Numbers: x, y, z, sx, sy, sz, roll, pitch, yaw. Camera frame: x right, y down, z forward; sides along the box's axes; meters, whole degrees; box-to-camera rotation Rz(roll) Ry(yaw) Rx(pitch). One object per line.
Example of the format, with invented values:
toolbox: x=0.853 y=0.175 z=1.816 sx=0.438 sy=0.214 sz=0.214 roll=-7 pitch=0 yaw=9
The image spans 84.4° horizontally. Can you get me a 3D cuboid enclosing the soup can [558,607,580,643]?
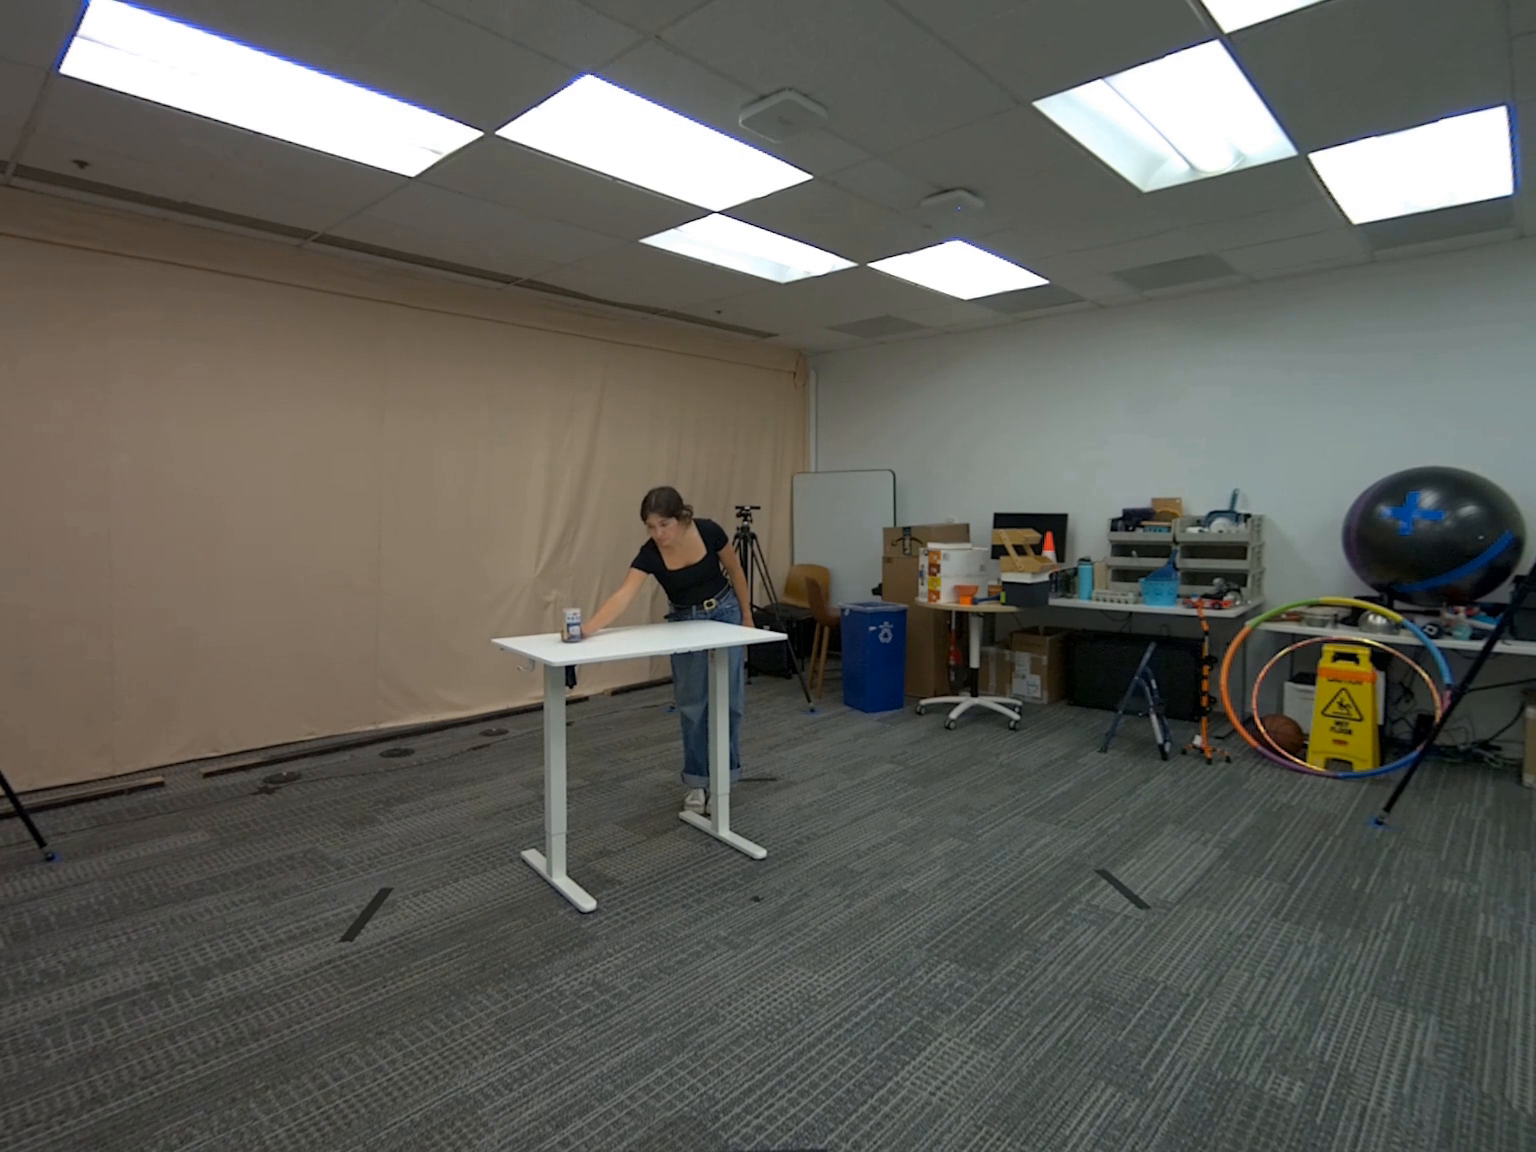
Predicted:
soup can: x=-0.748 y=0.180 z=3.174 sx=0.067 sy=0.121 sz=0.067 roll=1 pitch=3 yaw=-2
